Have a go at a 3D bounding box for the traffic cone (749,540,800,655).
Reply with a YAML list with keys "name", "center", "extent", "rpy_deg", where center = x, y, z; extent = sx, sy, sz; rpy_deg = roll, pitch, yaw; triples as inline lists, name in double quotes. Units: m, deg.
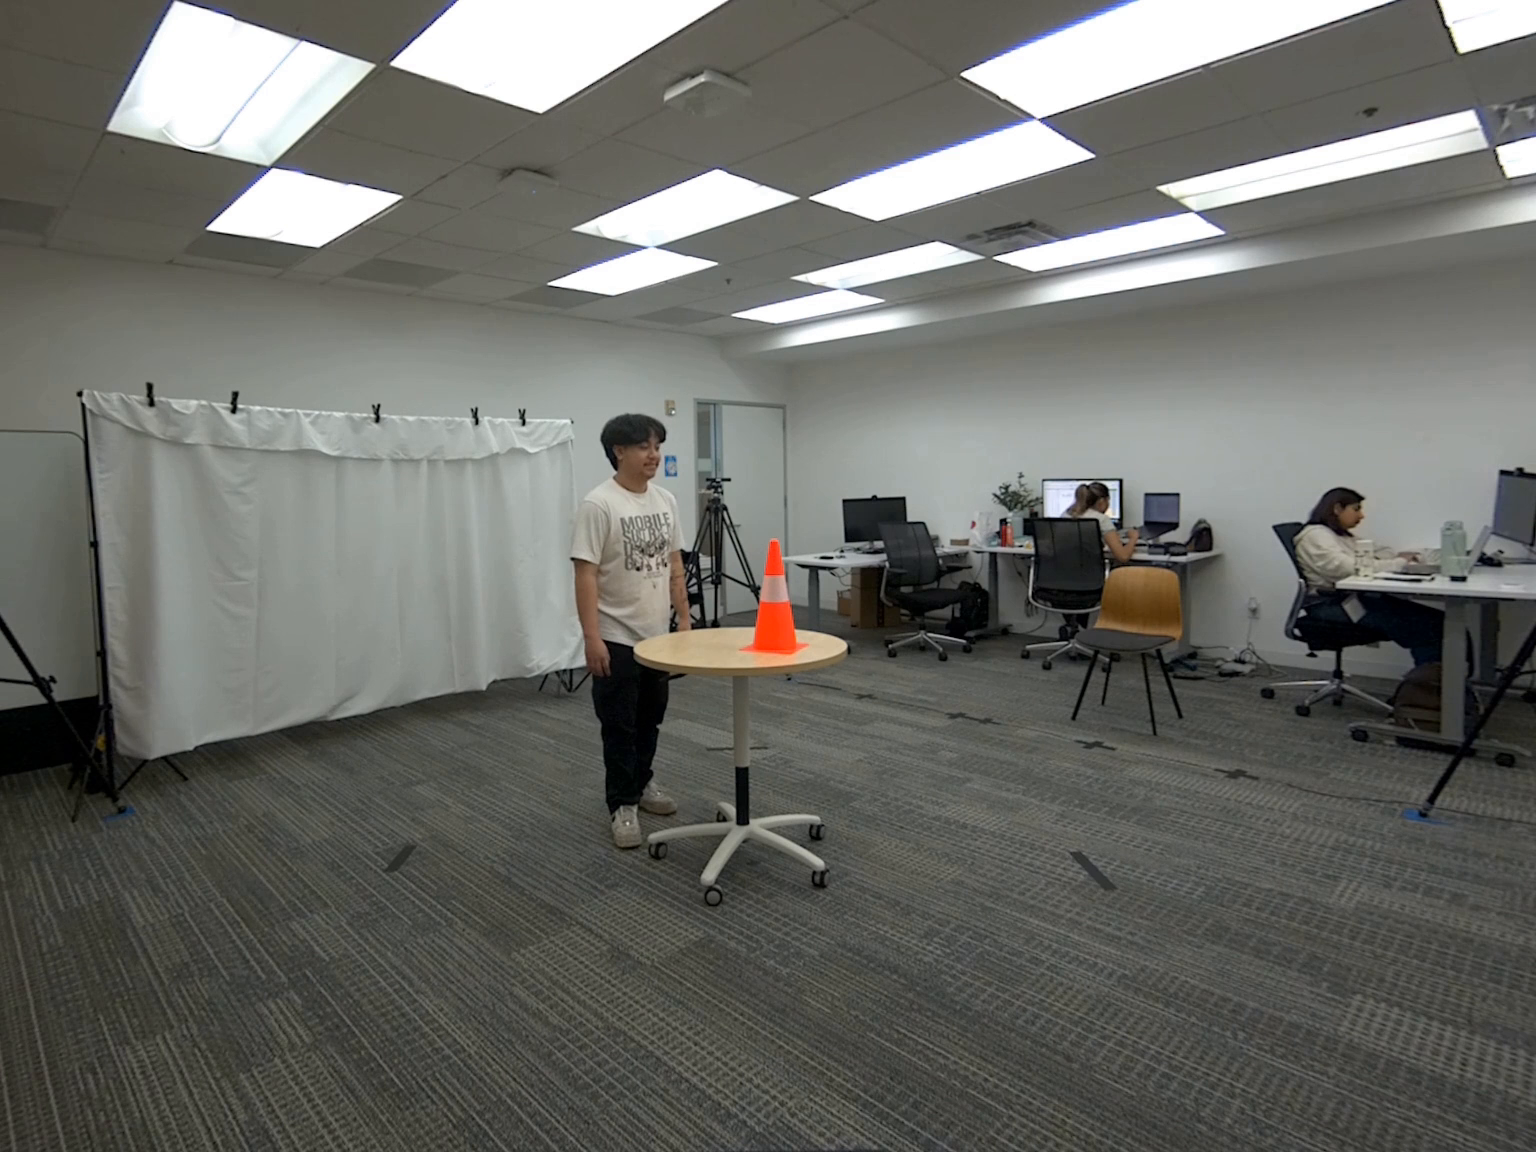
- name: "traffic cone"
  center: [0.023, 0.067, 3.011]
  extent: [0.208, 0.382, 0.201]
  rpy_deg: [0, 5, 24]
